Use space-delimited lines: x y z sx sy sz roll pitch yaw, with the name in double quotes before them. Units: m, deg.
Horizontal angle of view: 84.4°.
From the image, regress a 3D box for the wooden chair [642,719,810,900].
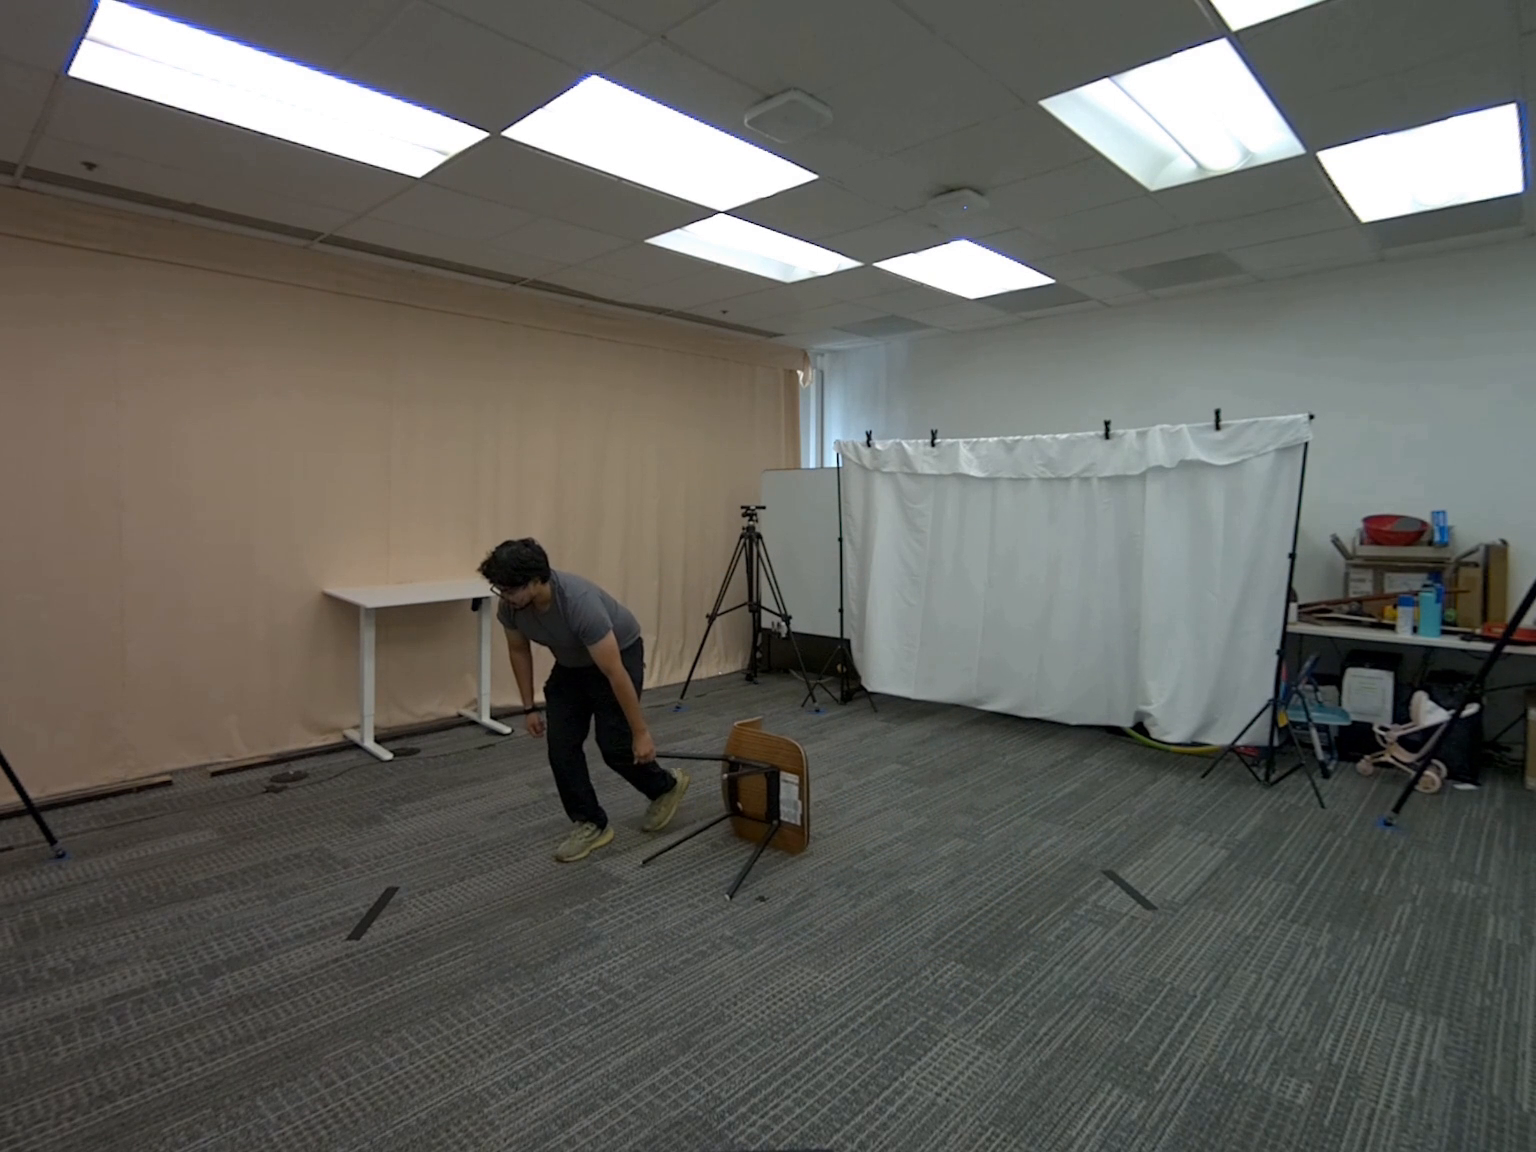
"wooden chair" -0.060 0.875 3.408 0.539 0.477 0.853 2 5 33
